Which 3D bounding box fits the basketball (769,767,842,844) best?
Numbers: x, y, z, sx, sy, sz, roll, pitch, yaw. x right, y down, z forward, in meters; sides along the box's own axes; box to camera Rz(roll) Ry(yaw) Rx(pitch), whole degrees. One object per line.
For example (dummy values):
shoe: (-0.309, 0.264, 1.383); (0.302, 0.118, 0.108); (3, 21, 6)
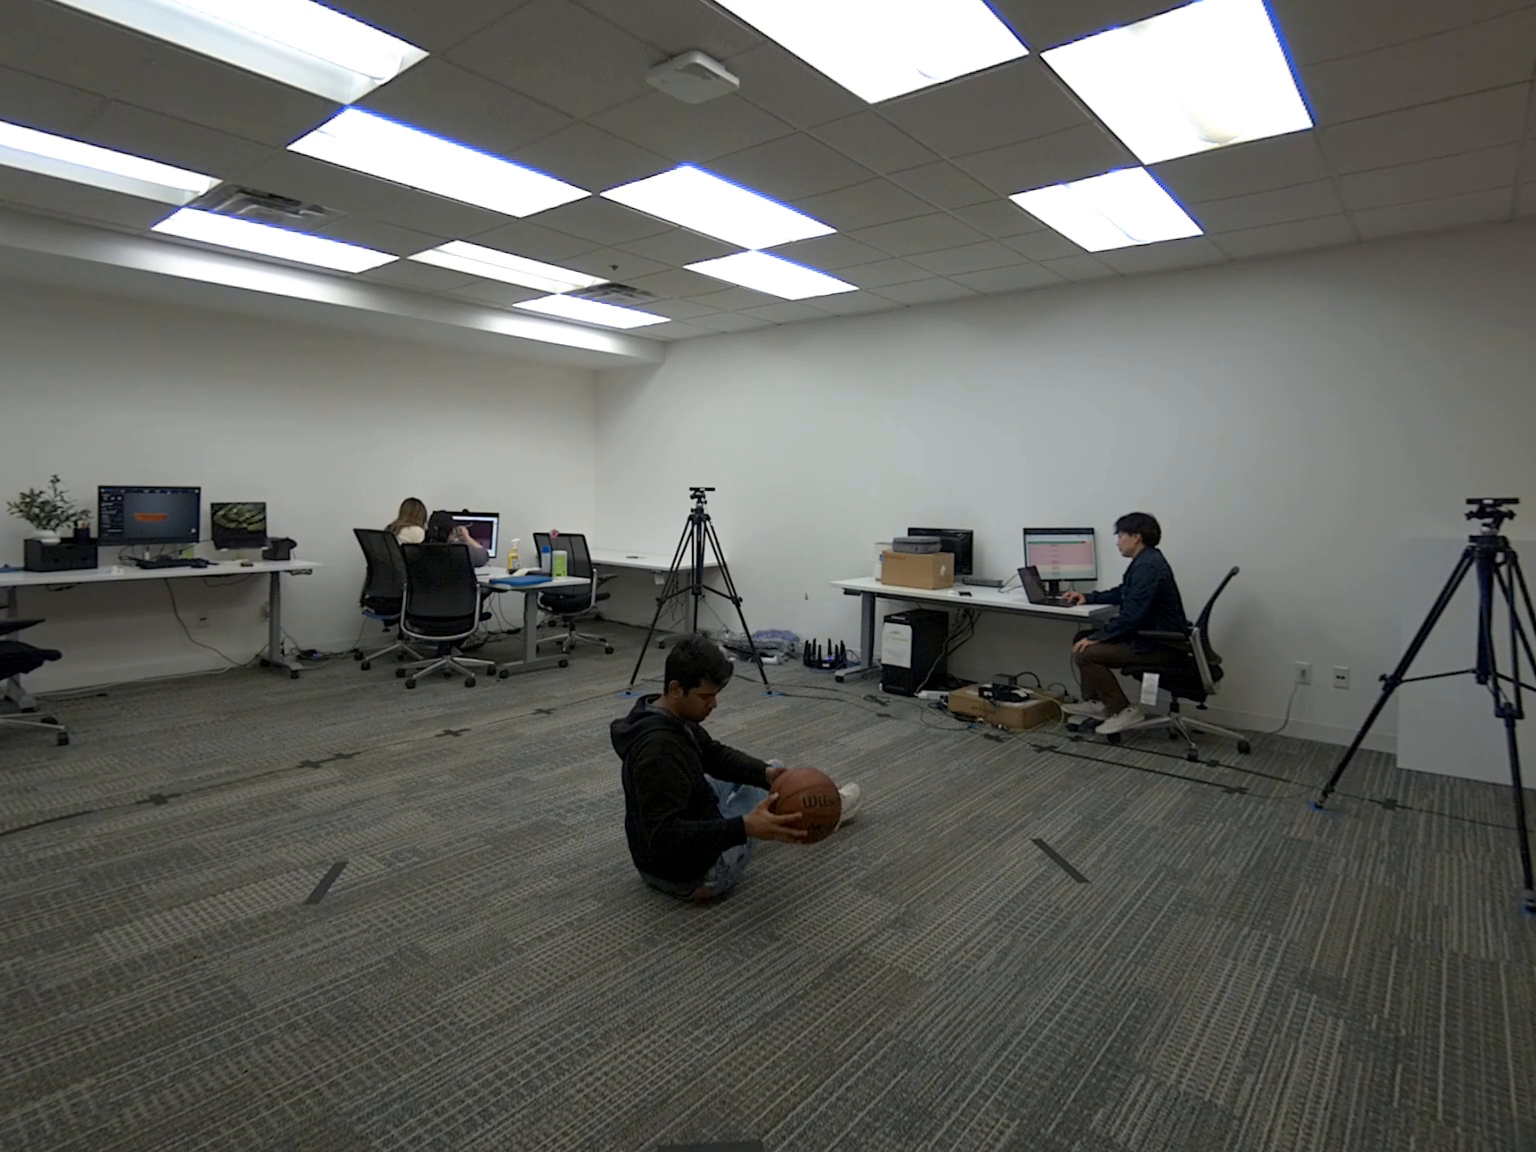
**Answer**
basketball: (0.099, 0.732, 2.758); (0.235, 0.235, 0.237); (1, 4, -2)
